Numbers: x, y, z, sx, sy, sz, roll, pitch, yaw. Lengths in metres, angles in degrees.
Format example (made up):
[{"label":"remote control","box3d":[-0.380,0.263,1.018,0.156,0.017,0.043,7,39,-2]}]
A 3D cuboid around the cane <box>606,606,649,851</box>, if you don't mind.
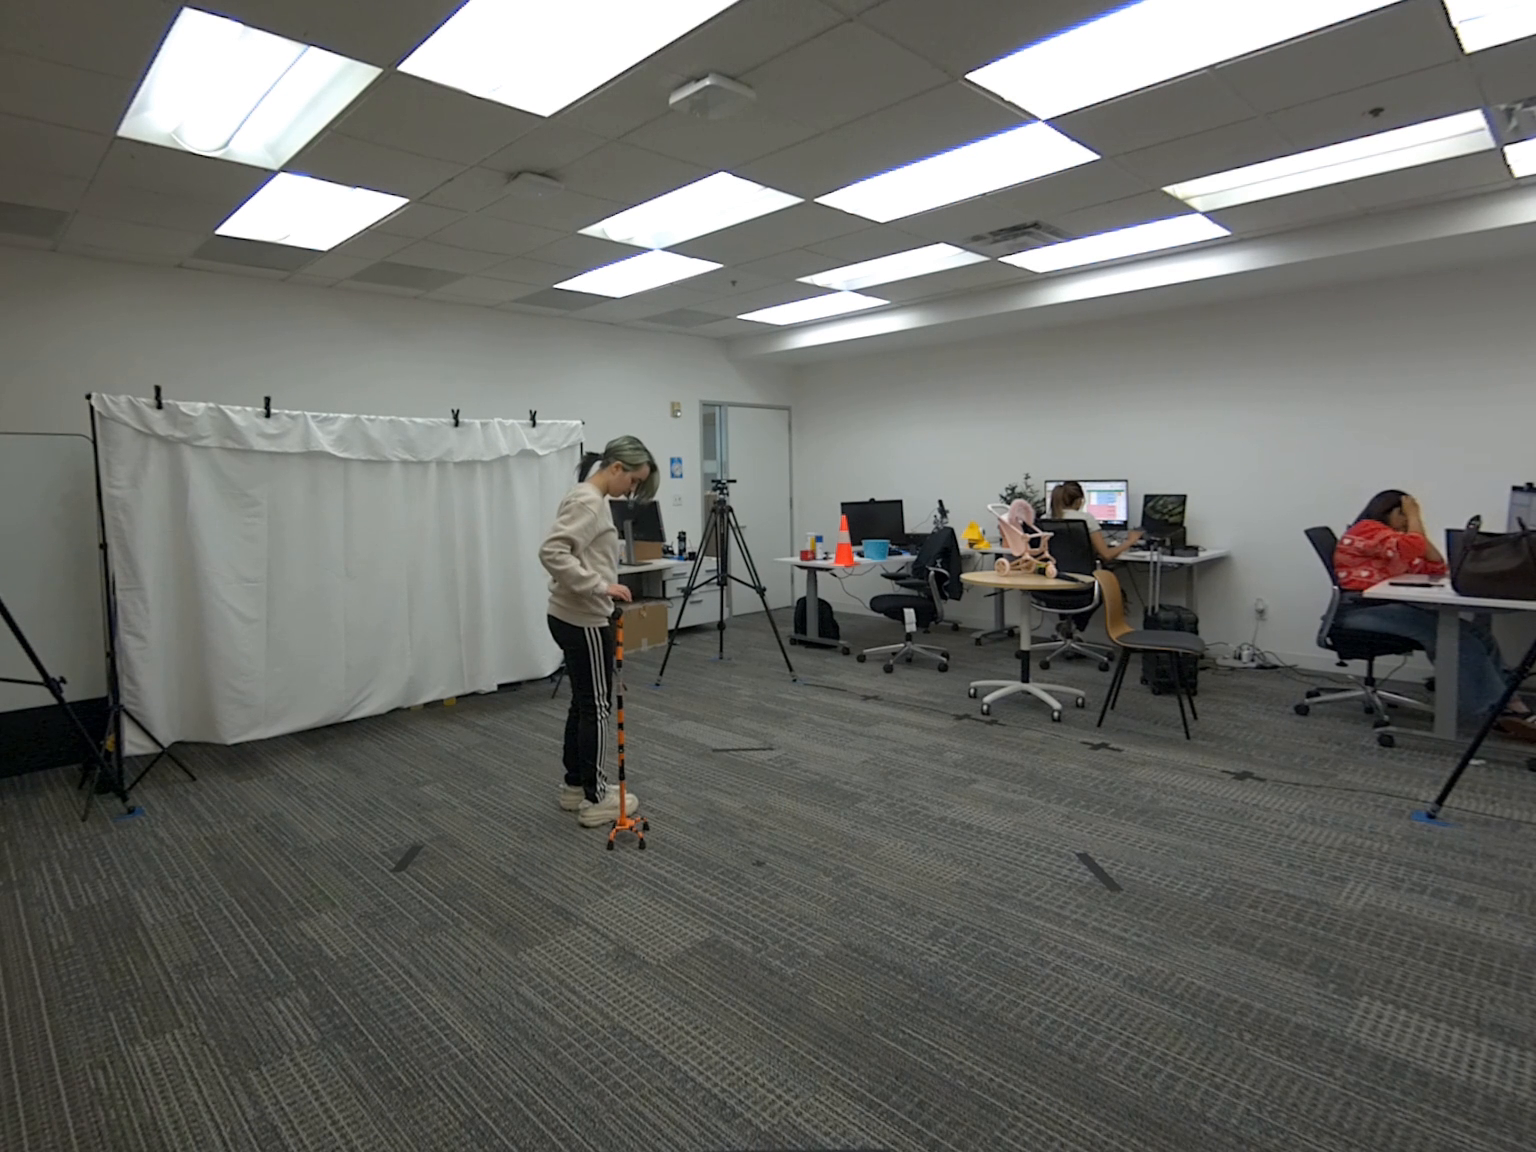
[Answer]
[{"label":"cane","box3d":[-0.551,0.582,3.320,0.151,0.905,0.207,-2,3,-3]}]
